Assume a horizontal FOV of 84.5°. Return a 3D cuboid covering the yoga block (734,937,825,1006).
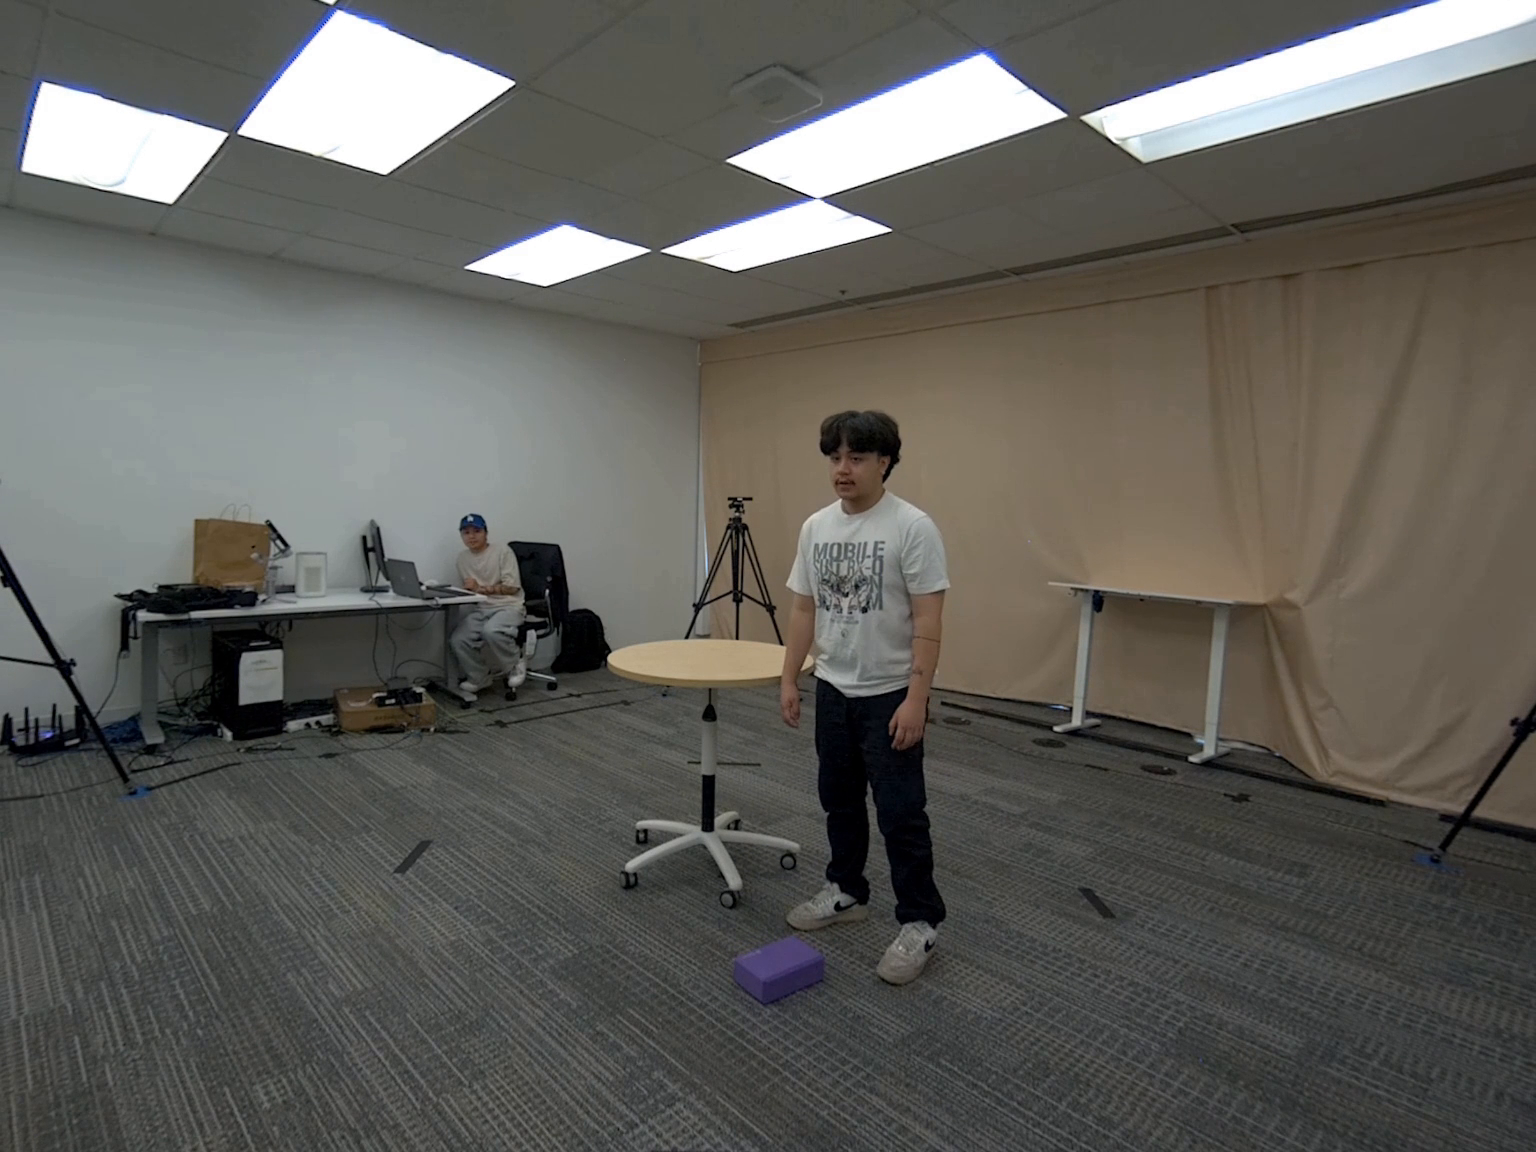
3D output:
[{"bbox_3d":[0.031,1.133,2.431,0.224,0.076,0.153,-4,8,-38],"label":"yoga block"}]
